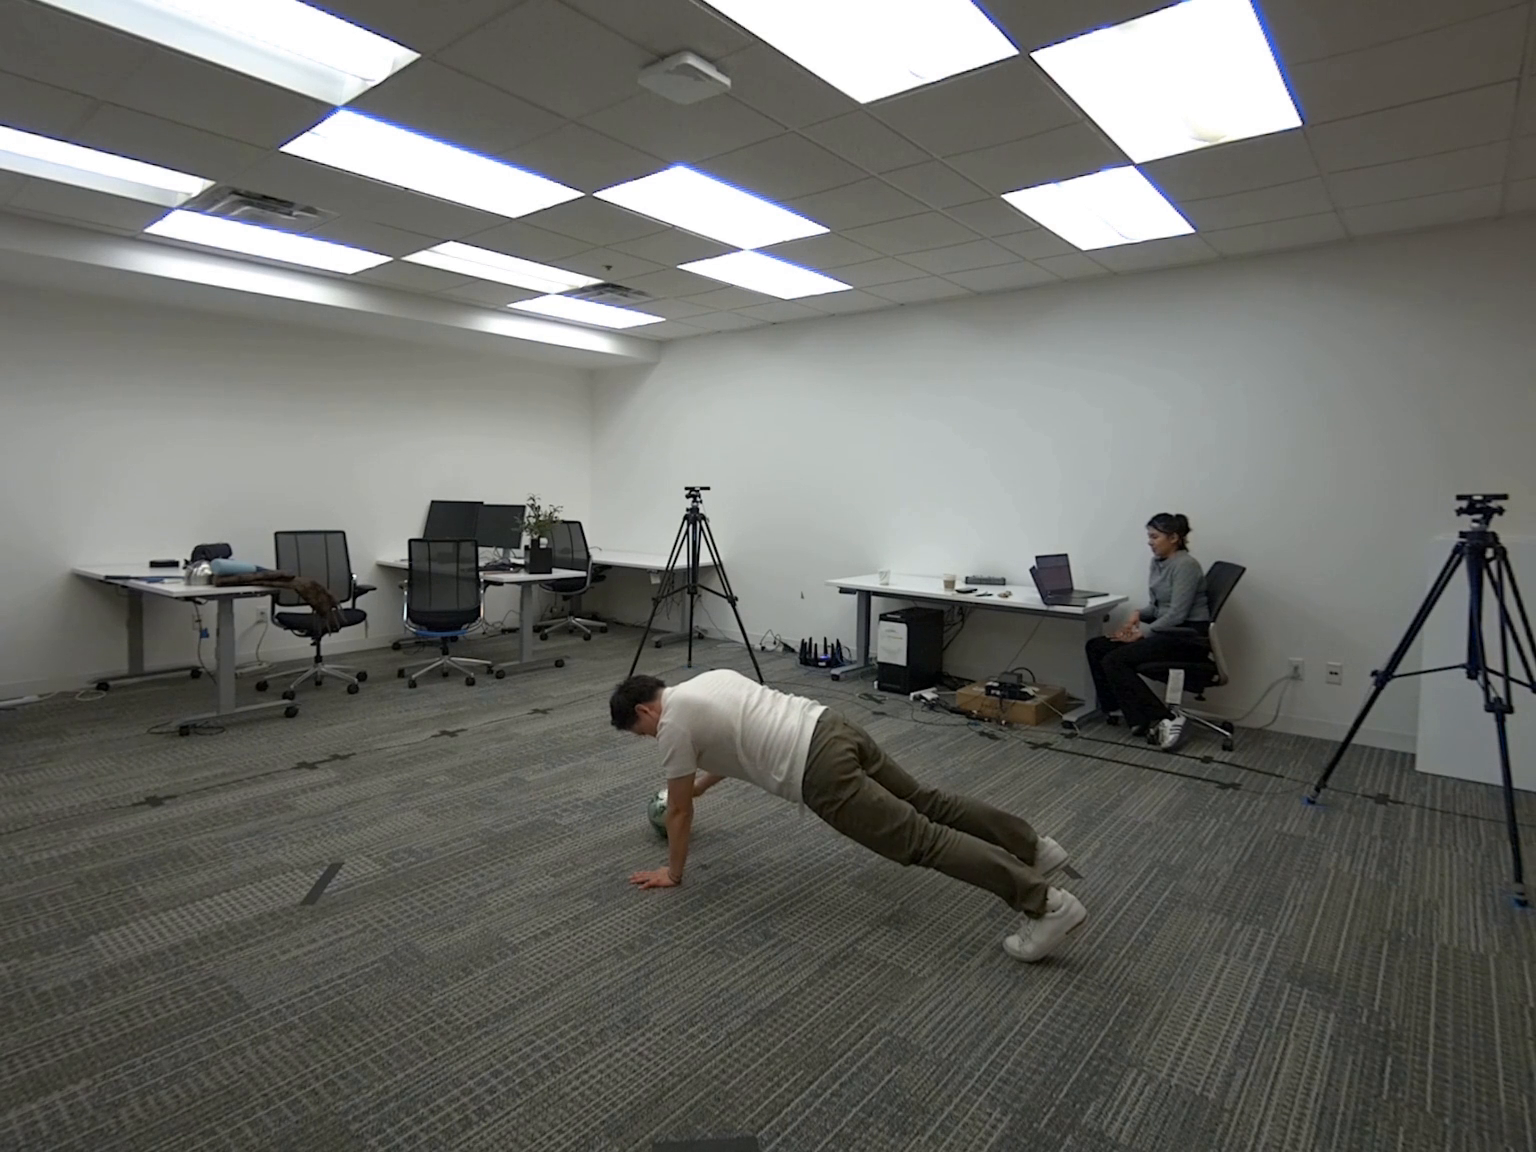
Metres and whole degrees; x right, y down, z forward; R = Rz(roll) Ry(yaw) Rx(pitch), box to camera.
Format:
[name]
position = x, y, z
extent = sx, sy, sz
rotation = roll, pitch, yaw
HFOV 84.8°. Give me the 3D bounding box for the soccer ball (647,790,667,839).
[soccer ball]
position = -0.391, 0.933, 3.388
extent = 0.187, 0.187, 0.188
rotation = 1, 4, -2
